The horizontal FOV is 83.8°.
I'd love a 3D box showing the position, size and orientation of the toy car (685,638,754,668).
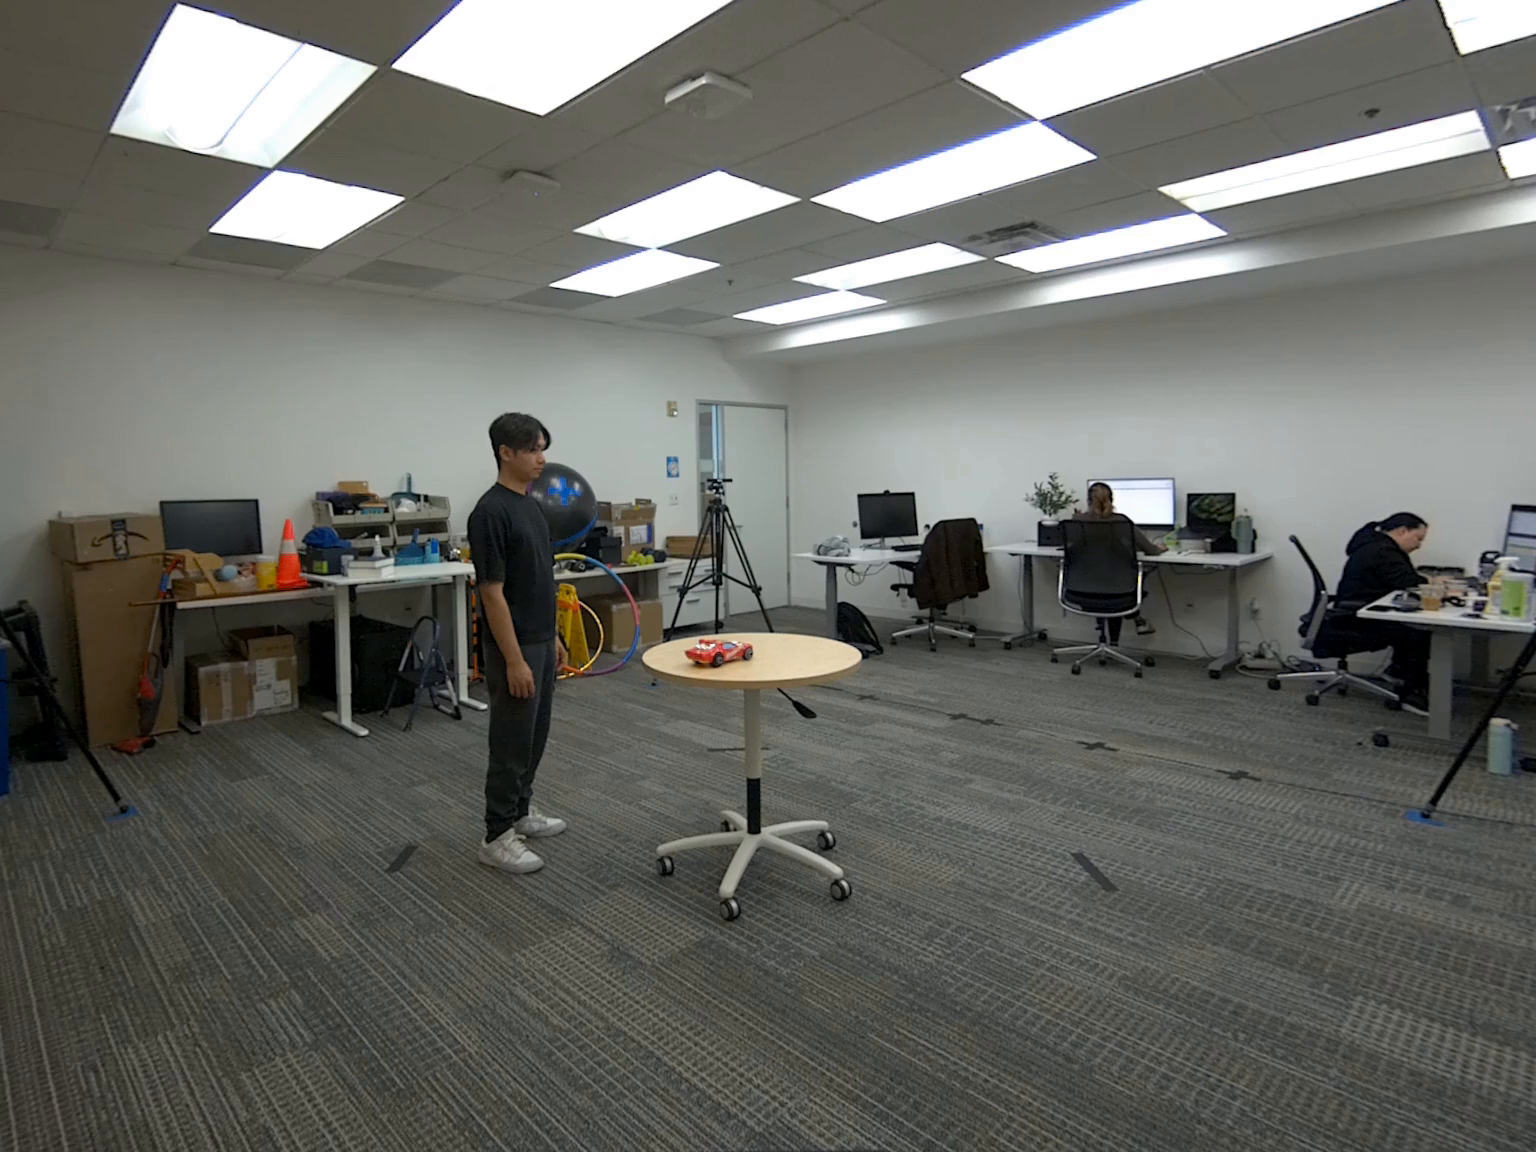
[{"bbox_3d":[-0.170,0.259,2.871,0.134,0.083,0.246,7,0,44],"label":"toy car"}]
